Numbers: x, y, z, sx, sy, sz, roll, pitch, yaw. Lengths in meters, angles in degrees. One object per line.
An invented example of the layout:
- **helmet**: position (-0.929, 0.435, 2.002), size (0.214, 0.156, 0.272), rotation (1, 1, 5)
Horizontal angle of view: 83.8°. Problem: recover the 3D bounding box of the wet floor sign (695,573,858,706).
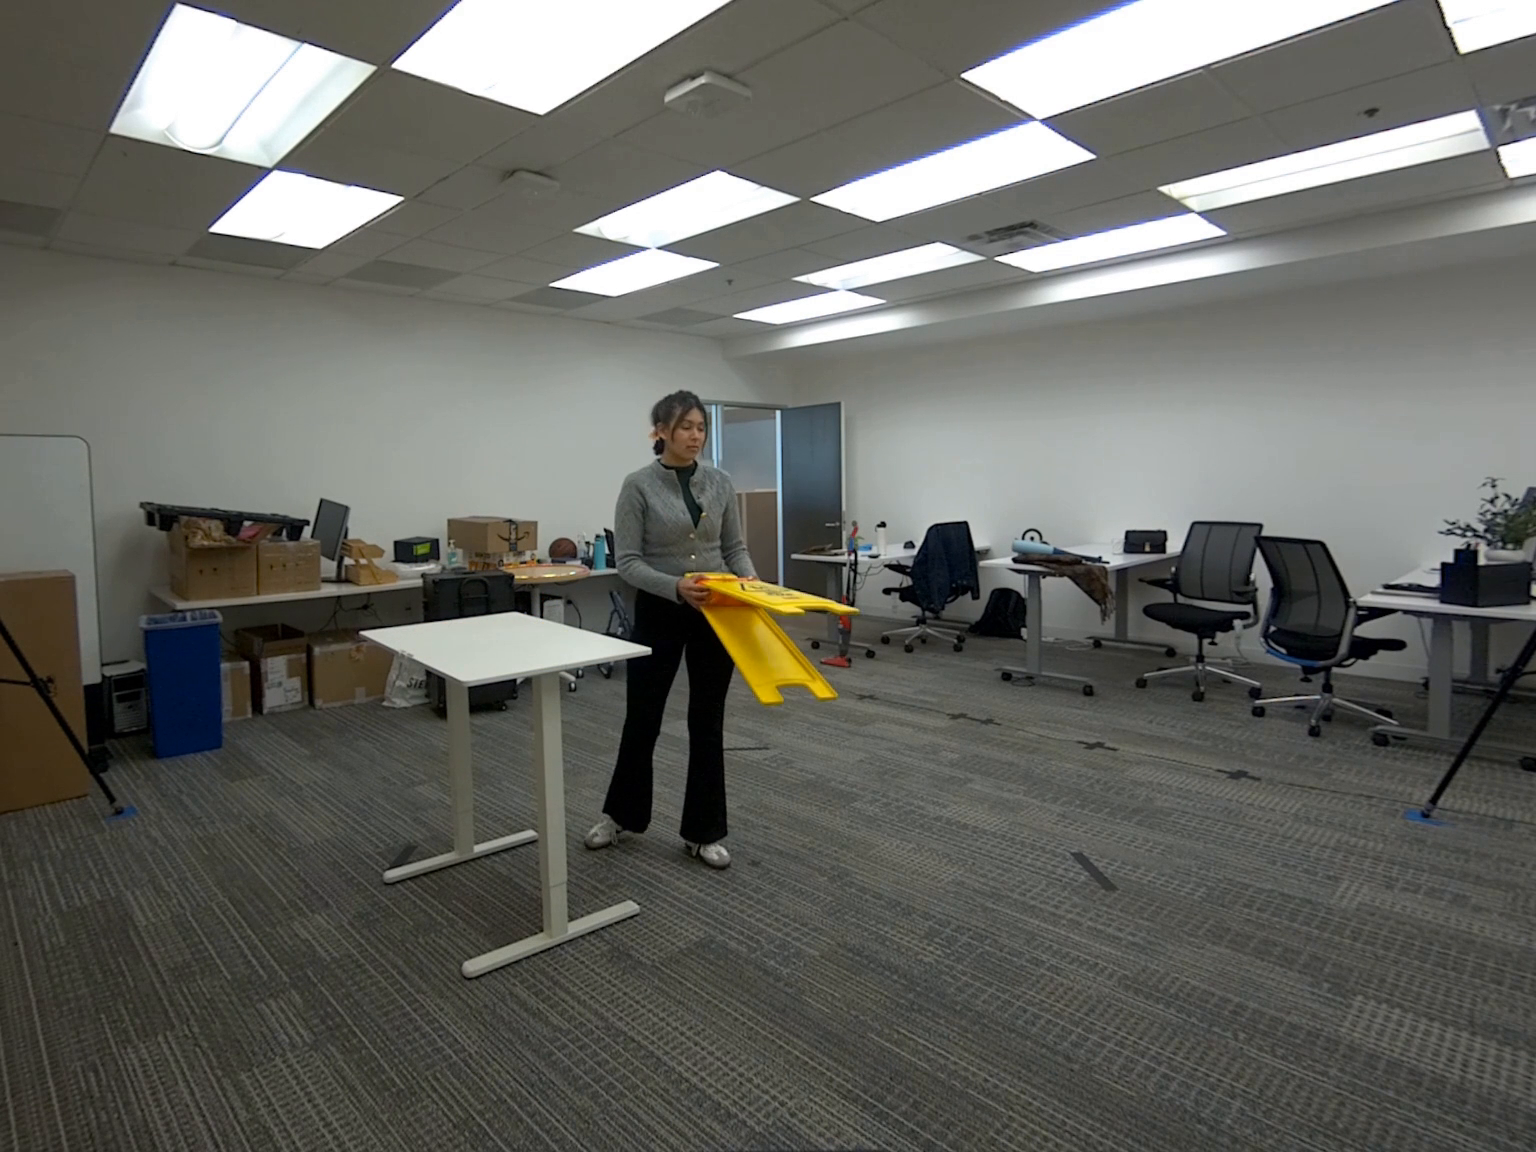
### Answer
- **wet floor sign**: position (-0.041, 0.121, 2.752), size (0.274, 0.287, 0.671), rotation (2, 20, -34)
